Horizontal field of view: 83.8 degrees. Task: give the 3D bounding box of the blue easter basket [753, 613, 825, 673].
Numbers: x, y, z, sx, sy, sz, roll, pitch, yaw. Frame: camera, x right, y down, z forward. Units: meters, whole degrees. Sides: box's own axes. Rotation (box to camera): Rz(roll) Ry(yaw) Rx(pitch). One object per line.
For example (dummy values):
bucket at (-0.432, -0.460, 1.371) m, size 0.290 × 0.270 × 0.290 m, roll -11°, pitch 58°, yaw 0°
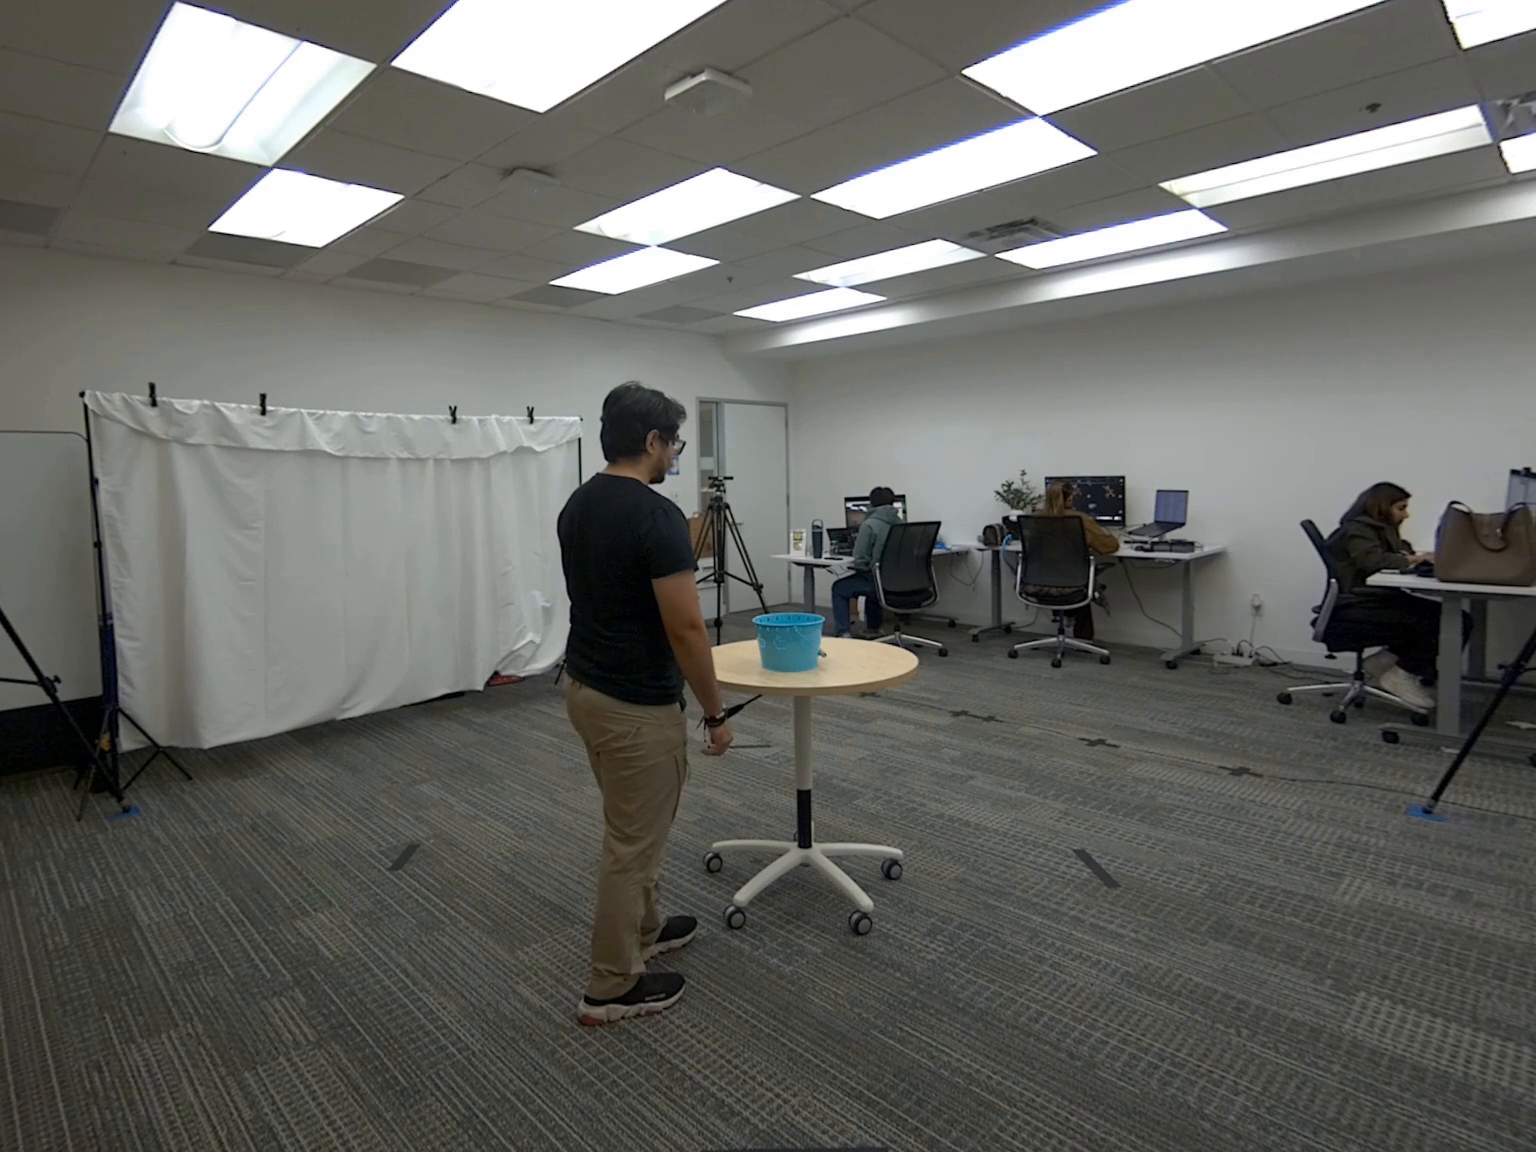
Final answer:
blue easter basket at (0.078, 0.216, 2.761) m, size 0.243 × 0.155 × 0.245 m, roll -2°, pitch 6°, yaw -2°
